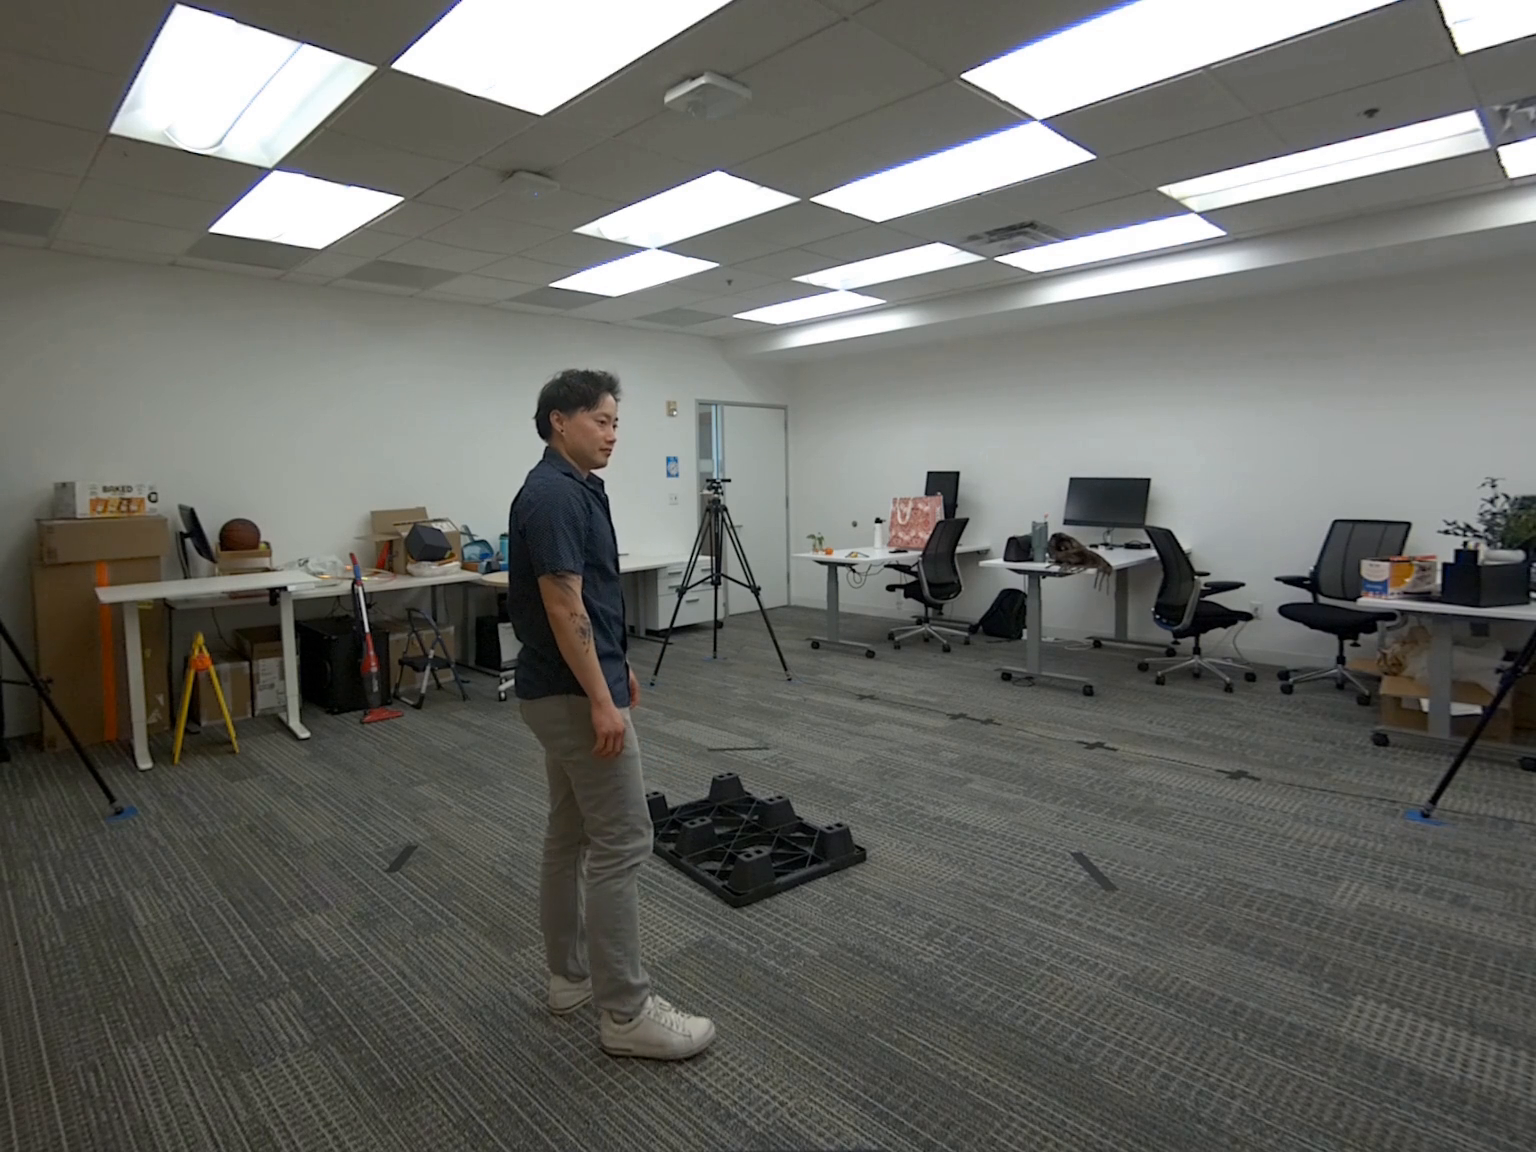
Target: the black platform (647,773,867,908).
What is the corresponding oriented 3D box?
[{"bbox_3d":[-0.107,0.961,3.264,0.590,0.142,0.830,-6,9,-37],"label":"black platform"}]
